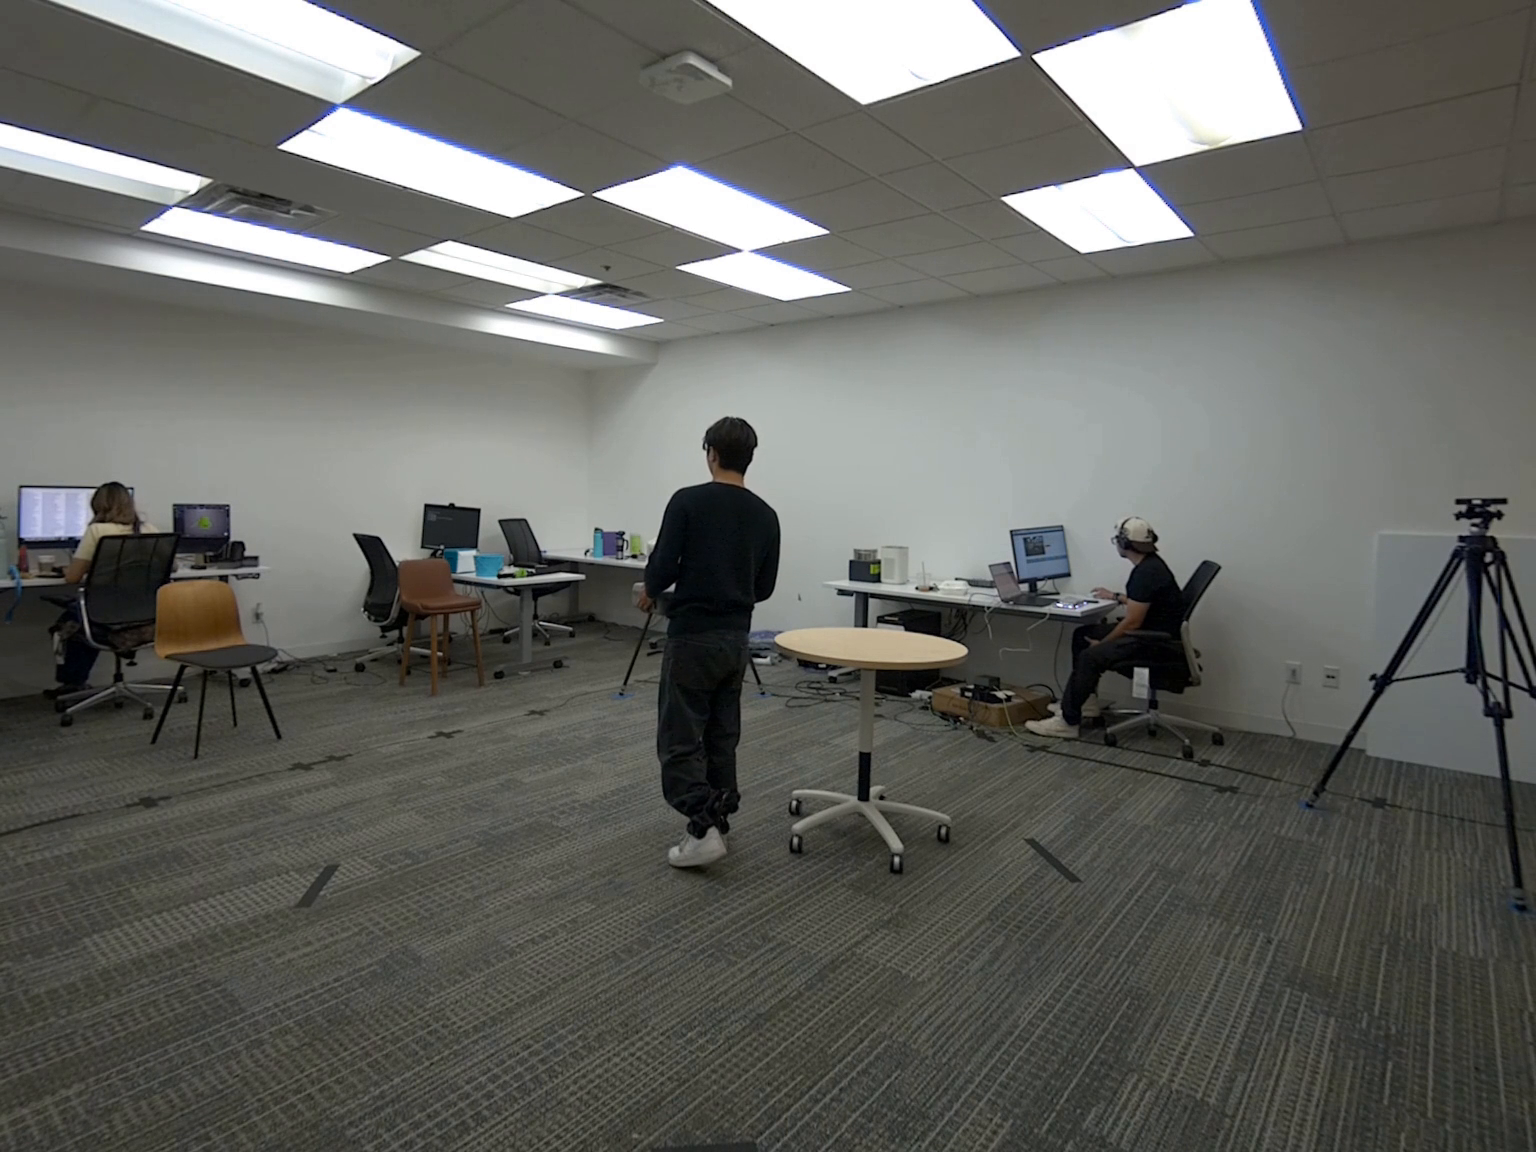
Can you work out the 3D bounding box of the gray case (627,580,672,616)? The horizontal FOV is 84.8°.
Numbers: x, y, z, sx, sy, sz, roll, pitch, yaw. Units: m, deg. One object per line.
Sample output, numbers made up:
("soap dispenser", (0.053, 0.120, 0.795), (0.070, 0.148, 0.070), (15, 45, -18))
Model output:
("gray case", (-0.407, 0.089, 3.515), (0.249, 0.104, 0.270), (3, 5, -37))
